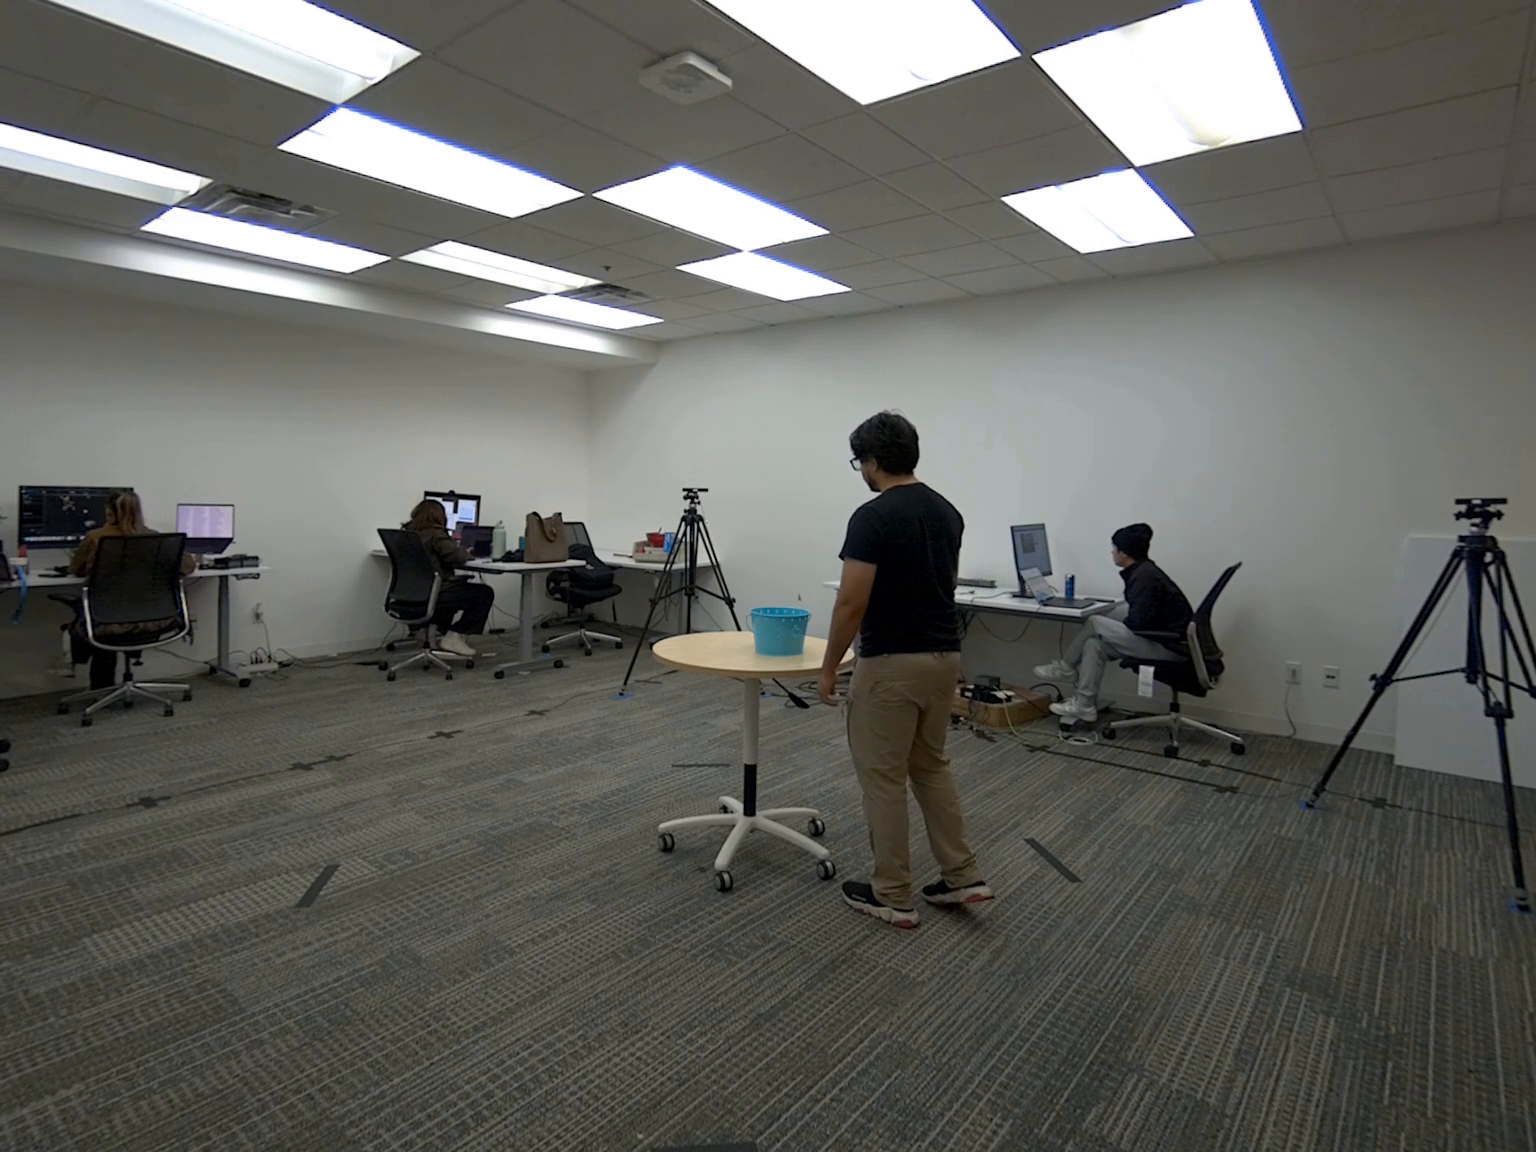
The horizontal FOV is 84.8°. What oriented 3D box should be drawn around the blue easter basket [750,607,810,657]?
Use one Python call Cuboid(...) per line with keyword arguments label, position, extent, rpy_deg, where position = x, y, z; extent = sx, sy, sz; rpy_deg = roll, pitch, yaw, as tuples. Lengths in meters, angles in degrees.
Cuboid(label="blue easter basket", position=(0.036, 0.206, 3.211), extent=(0.243, 0.155, 0.245), rpy_deg=(1, 5, -2))
